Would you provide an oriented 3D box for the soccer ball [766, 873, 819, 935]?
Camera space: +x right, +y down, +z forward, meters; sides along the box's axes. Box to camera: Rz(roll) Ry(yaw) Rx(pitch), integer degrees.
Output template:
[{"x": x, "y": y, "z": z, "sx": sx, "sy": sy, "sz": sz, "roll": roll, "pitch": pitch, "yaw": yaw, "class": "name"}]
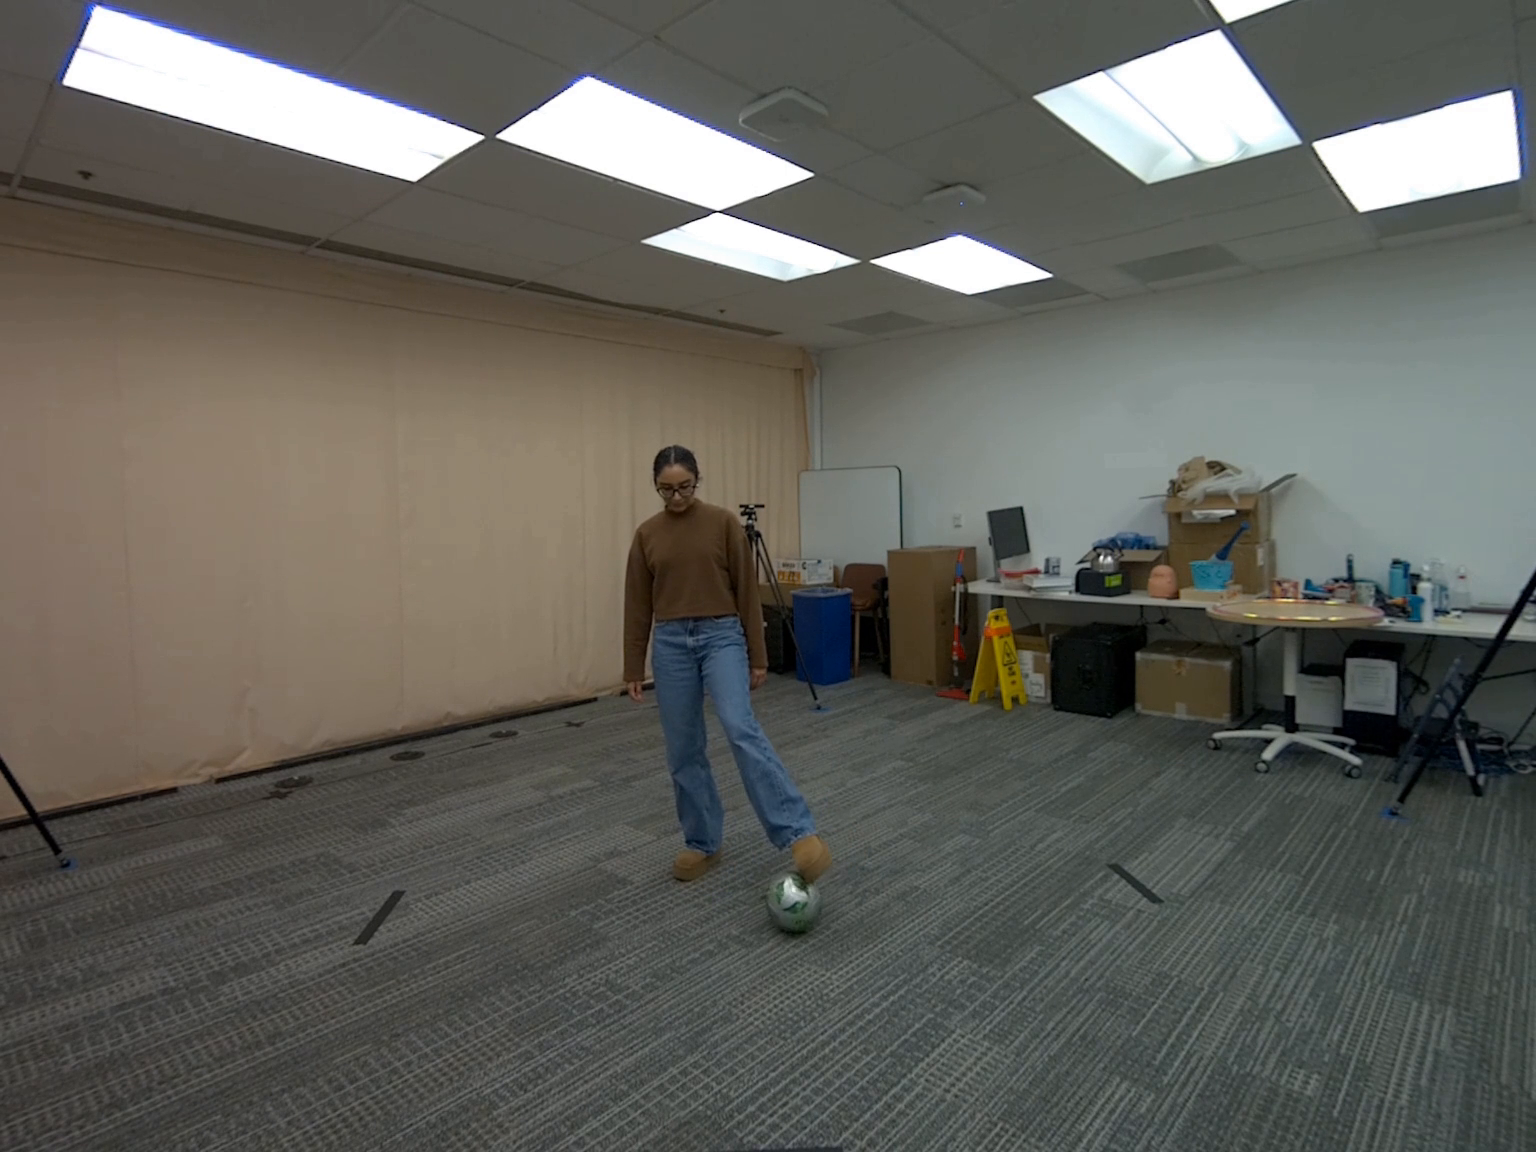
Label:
[{"x": 0.083, "y": 1.063, "z": 2.758, "sx": 0.187, "sy": 0.187, "sz": 0.188, "roll": -1, "pitch": 4, "yaw": -2, "class": "soccer ball"}]
